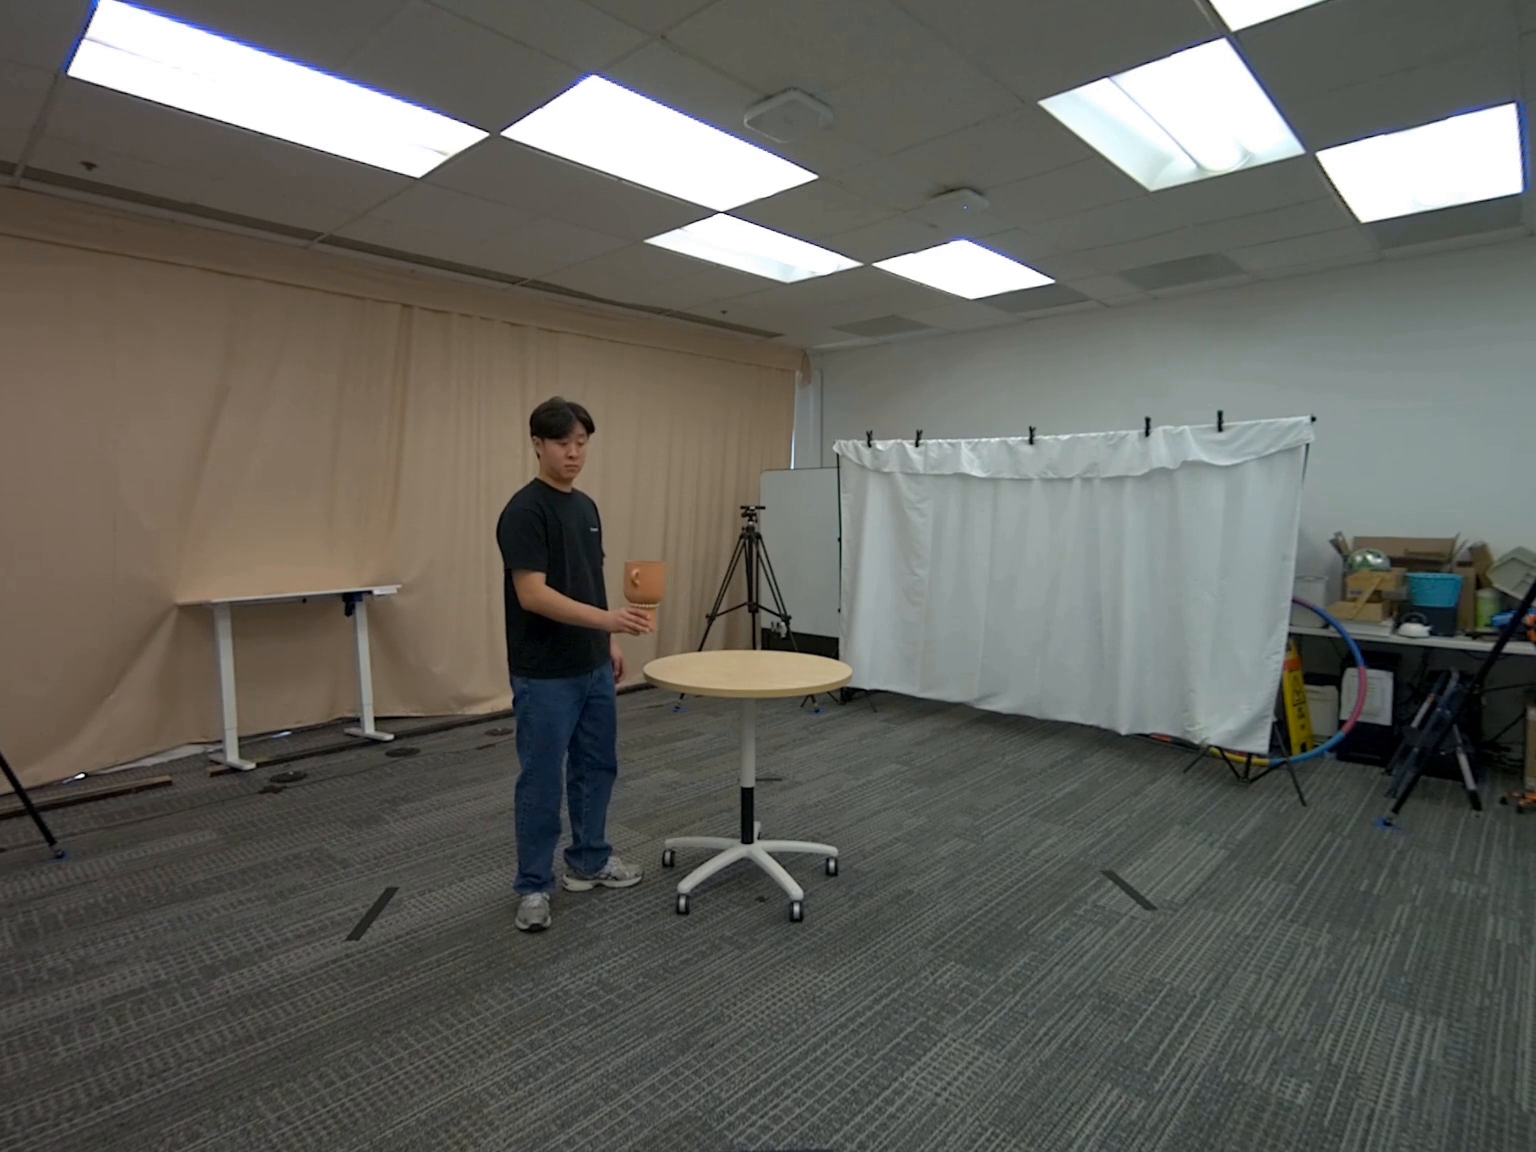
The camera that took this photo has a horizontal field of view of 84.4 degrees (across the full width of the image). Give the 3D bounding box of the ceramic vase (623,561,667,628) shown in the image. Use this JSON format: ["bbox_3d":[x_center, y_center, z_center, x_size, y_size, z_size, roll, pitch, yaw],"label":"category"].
[{"bbox_3d":[-0.404,0.067,2.703,0.154,0.219,0.139,1,2,-36],"label":"ceramic vase"}]
